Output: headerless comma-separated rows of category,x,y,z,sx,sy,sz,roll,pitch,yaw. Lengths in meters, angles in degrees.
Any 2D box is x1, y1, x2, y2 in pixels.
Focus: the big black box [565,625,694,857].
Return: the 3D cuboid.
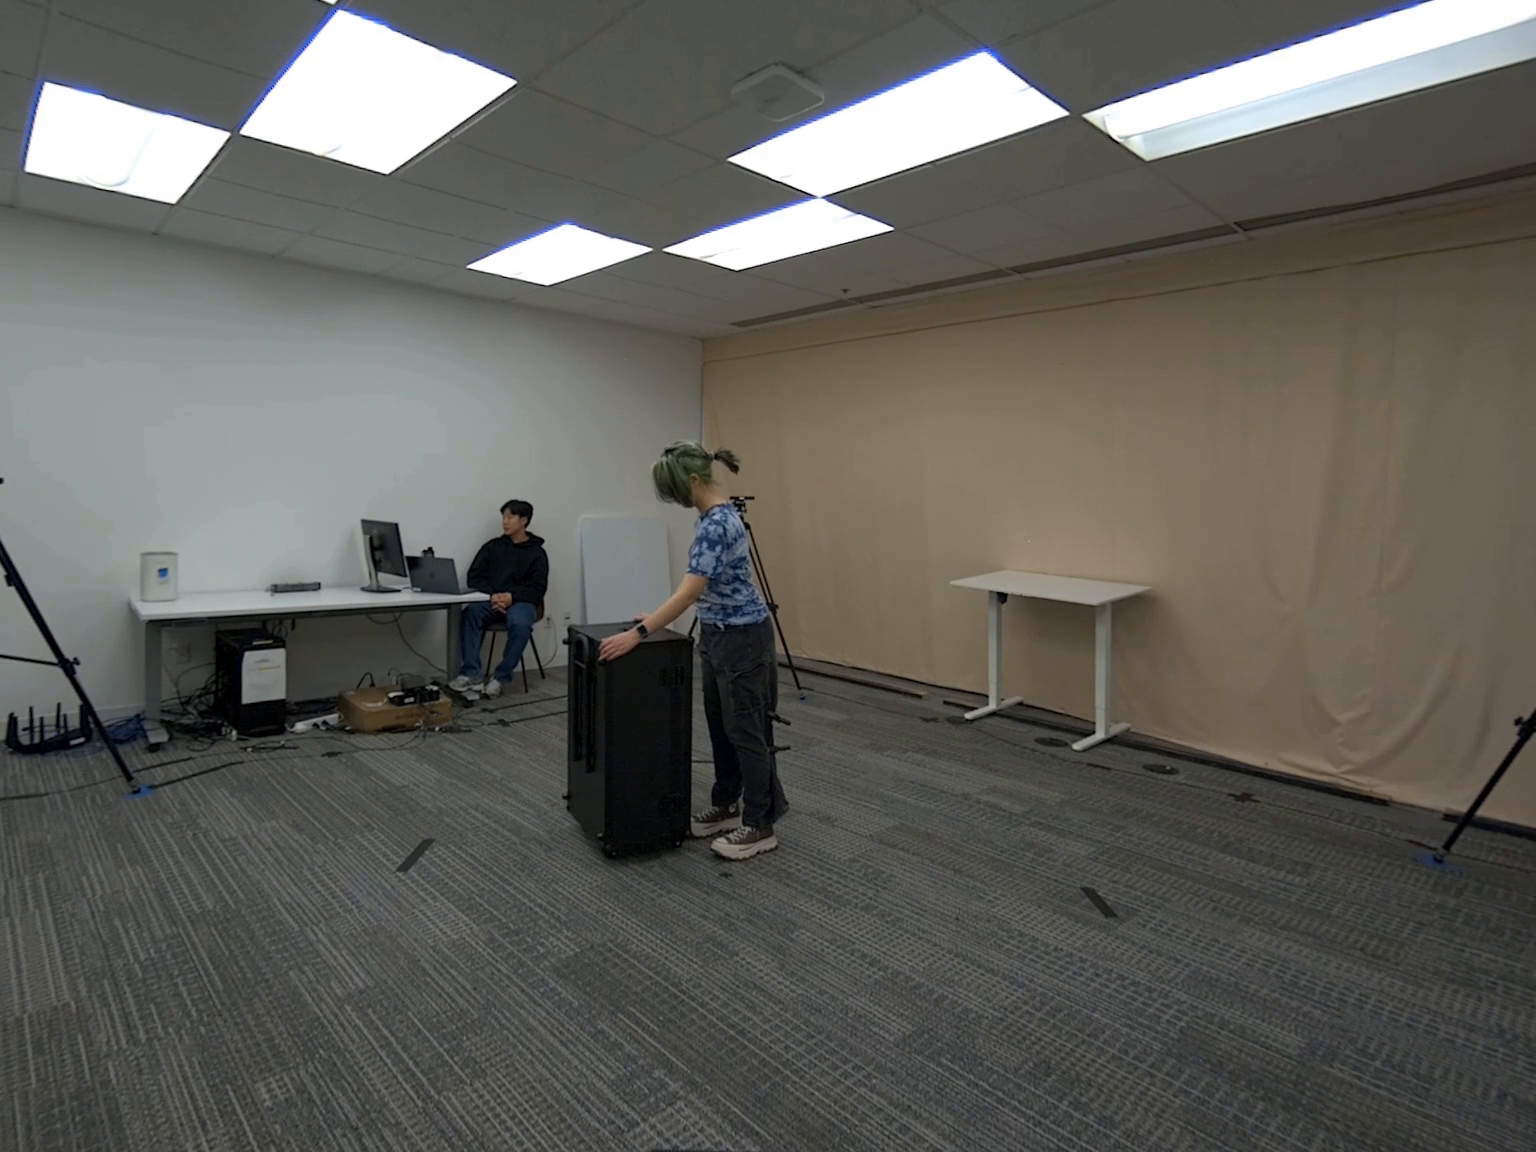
big black box,-0.580,0.653,3.360,0.388,0.859,0.533,-2,5,-30
